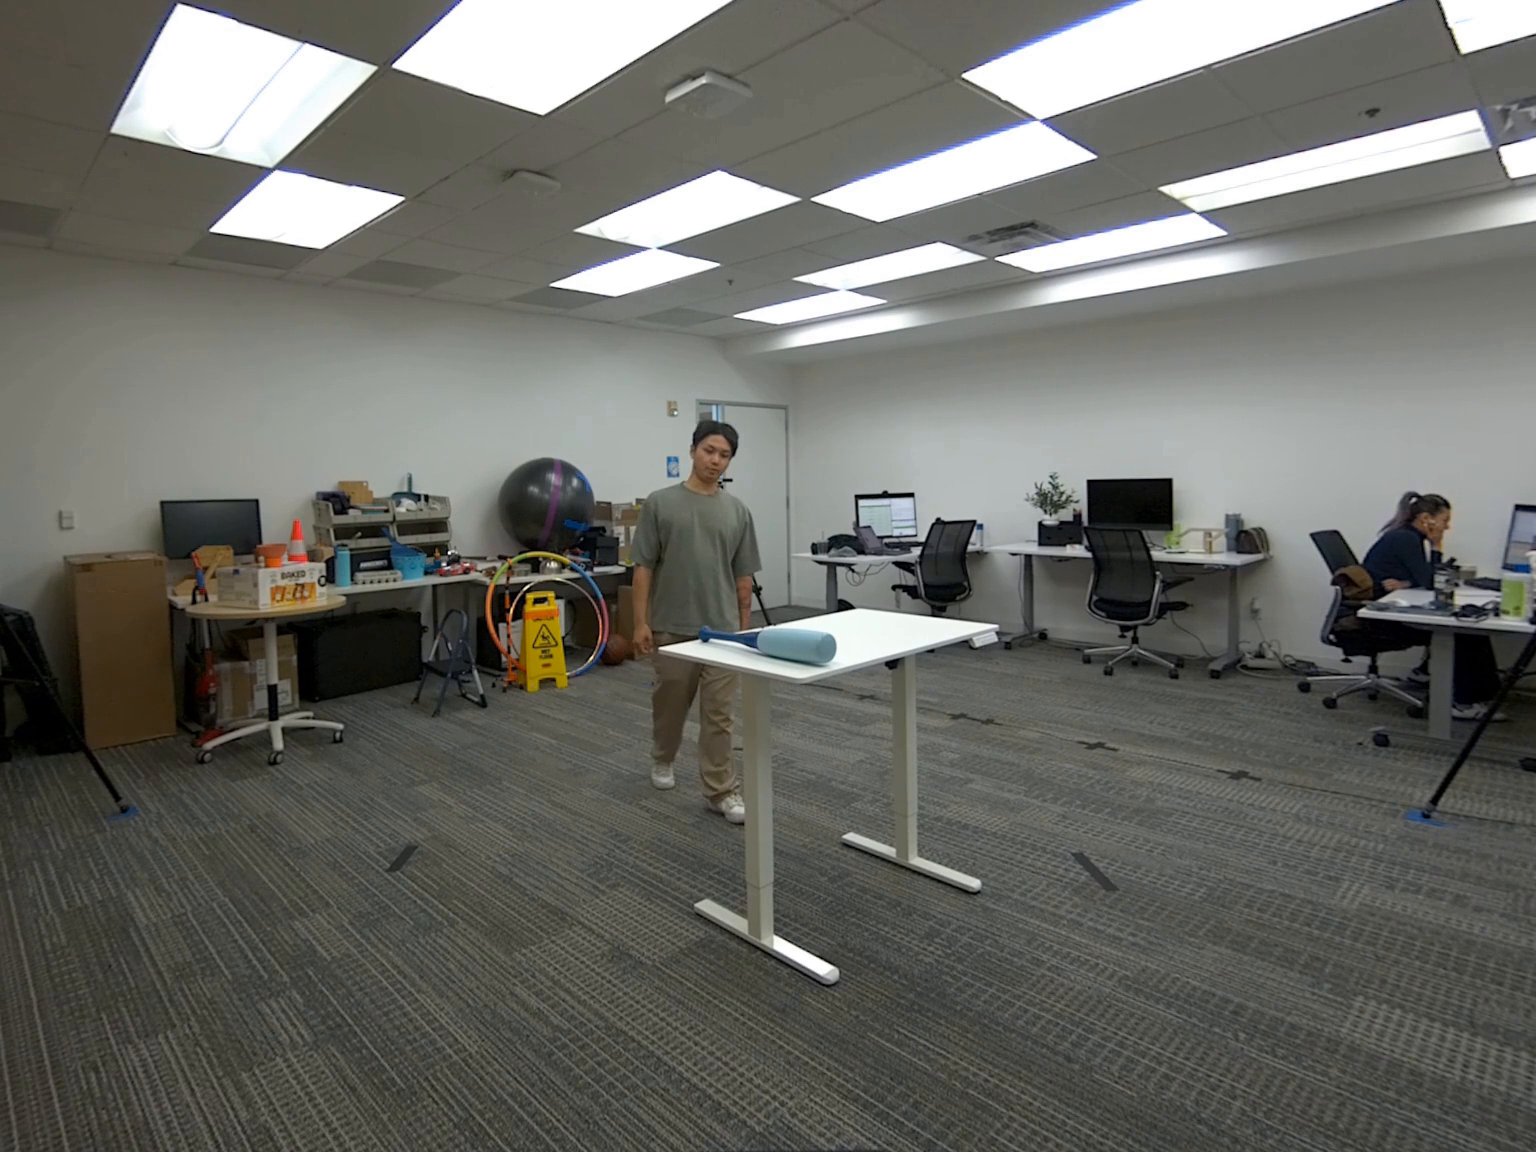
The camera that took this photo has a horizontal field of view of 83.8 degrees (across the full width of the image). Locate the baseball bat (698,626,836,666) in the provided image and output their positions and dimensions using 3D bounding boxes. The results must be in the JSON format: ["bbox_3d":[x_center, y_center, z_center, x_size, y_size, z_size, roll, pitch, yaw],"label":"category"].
[{"bbox_3d":[-0.023,0.197,2.530,0.087,0.089,0.558,-5,4,-43],"label":"baseball bat"}]
